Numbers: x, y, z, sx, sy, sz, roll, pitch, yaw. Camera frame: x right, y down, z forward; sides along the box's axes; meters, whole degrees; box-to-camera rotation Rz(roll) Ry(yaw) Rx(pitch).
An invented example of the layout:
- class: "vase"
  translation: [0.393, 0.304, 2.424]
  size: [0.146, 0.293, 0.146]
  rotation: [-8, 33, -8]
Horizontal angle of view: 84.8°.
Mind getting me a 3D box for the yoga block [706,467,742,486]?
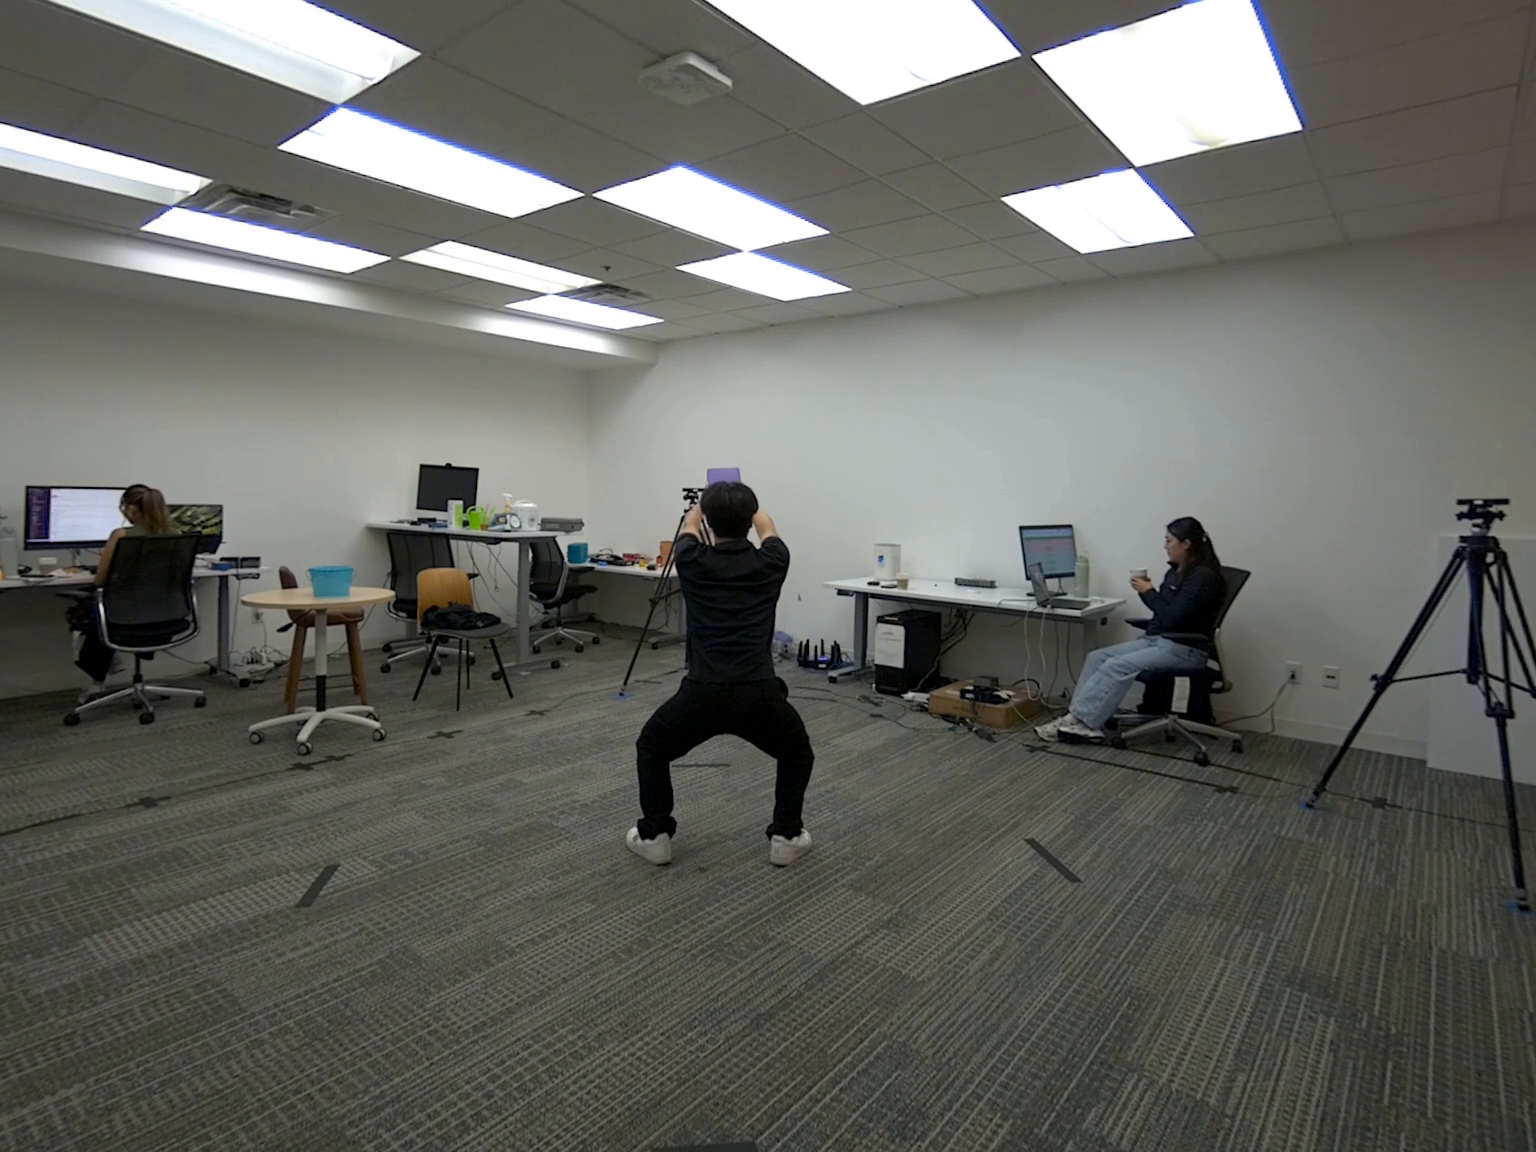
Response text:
- class: "yoga block"
  translation: [-0.199, -0.393, 3.787]
  size: [0.148, 0.237, 0.074]
  rotation: [-3, -41, -5]
